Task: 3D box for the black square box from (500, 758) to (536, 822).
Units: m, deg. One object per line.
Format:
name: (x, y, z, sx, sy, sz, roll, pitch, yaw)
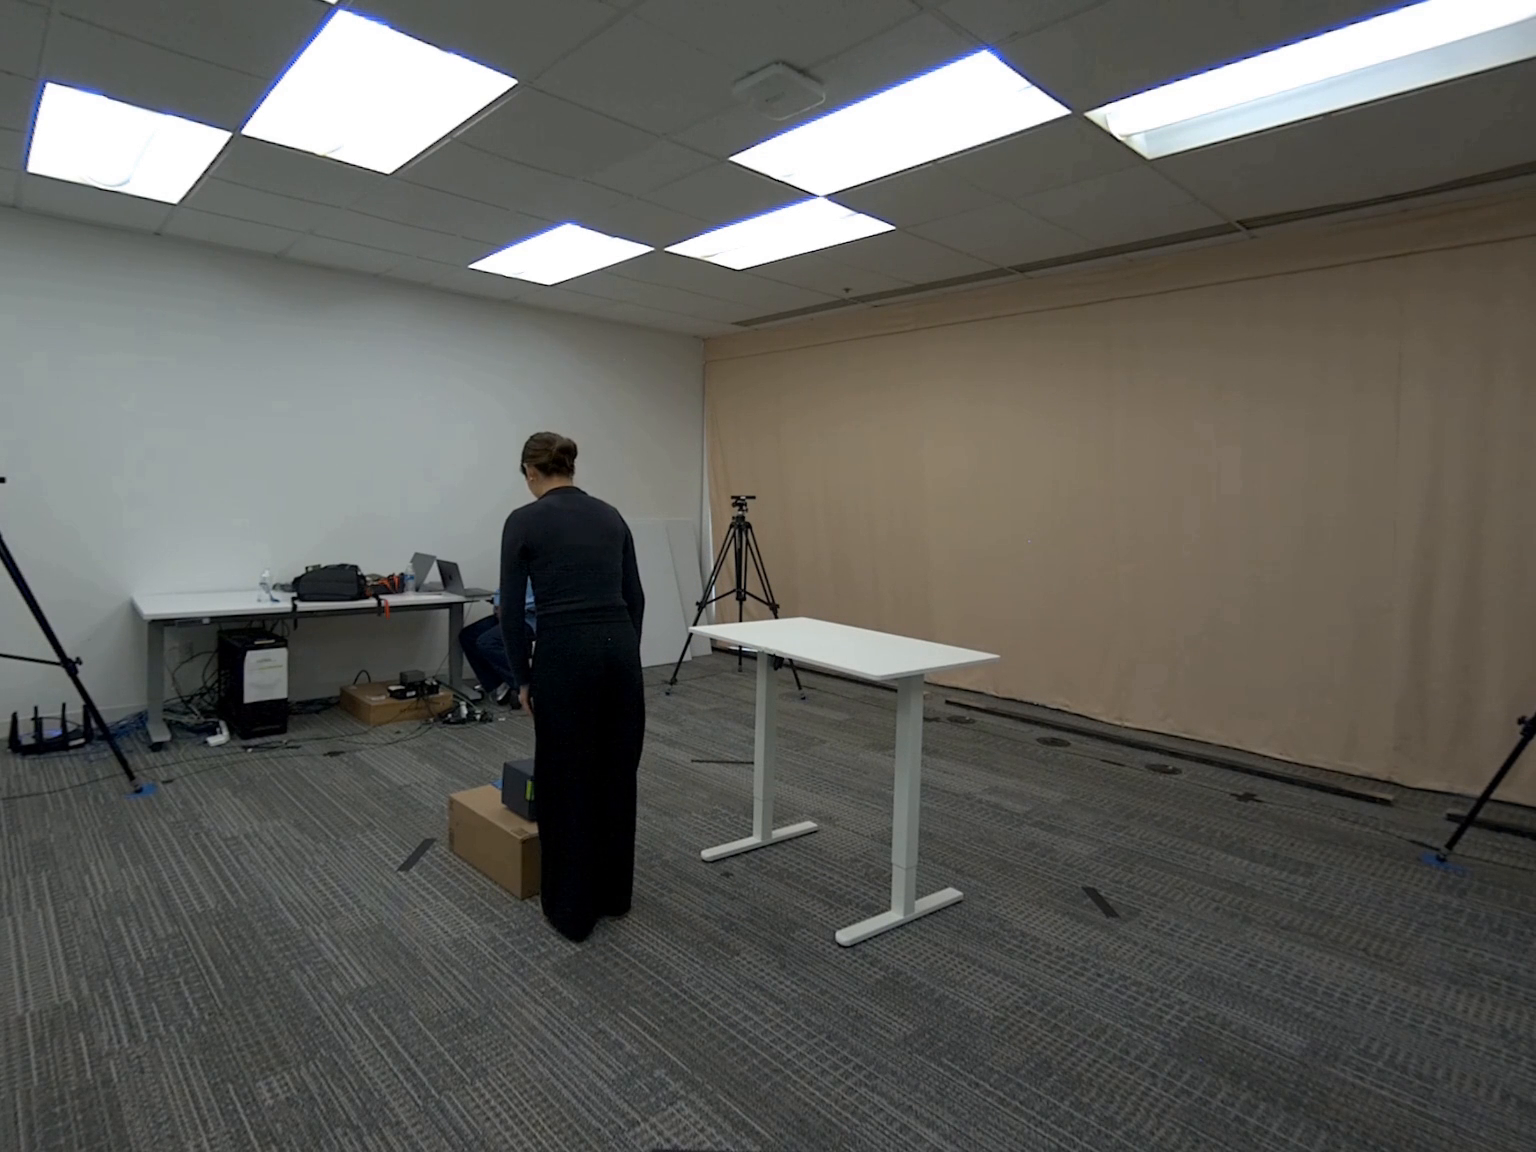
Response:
black square box: (-0.842, 0.780, 3.129, 0.222, 0.156, 0.222, 3, 2, -44)
